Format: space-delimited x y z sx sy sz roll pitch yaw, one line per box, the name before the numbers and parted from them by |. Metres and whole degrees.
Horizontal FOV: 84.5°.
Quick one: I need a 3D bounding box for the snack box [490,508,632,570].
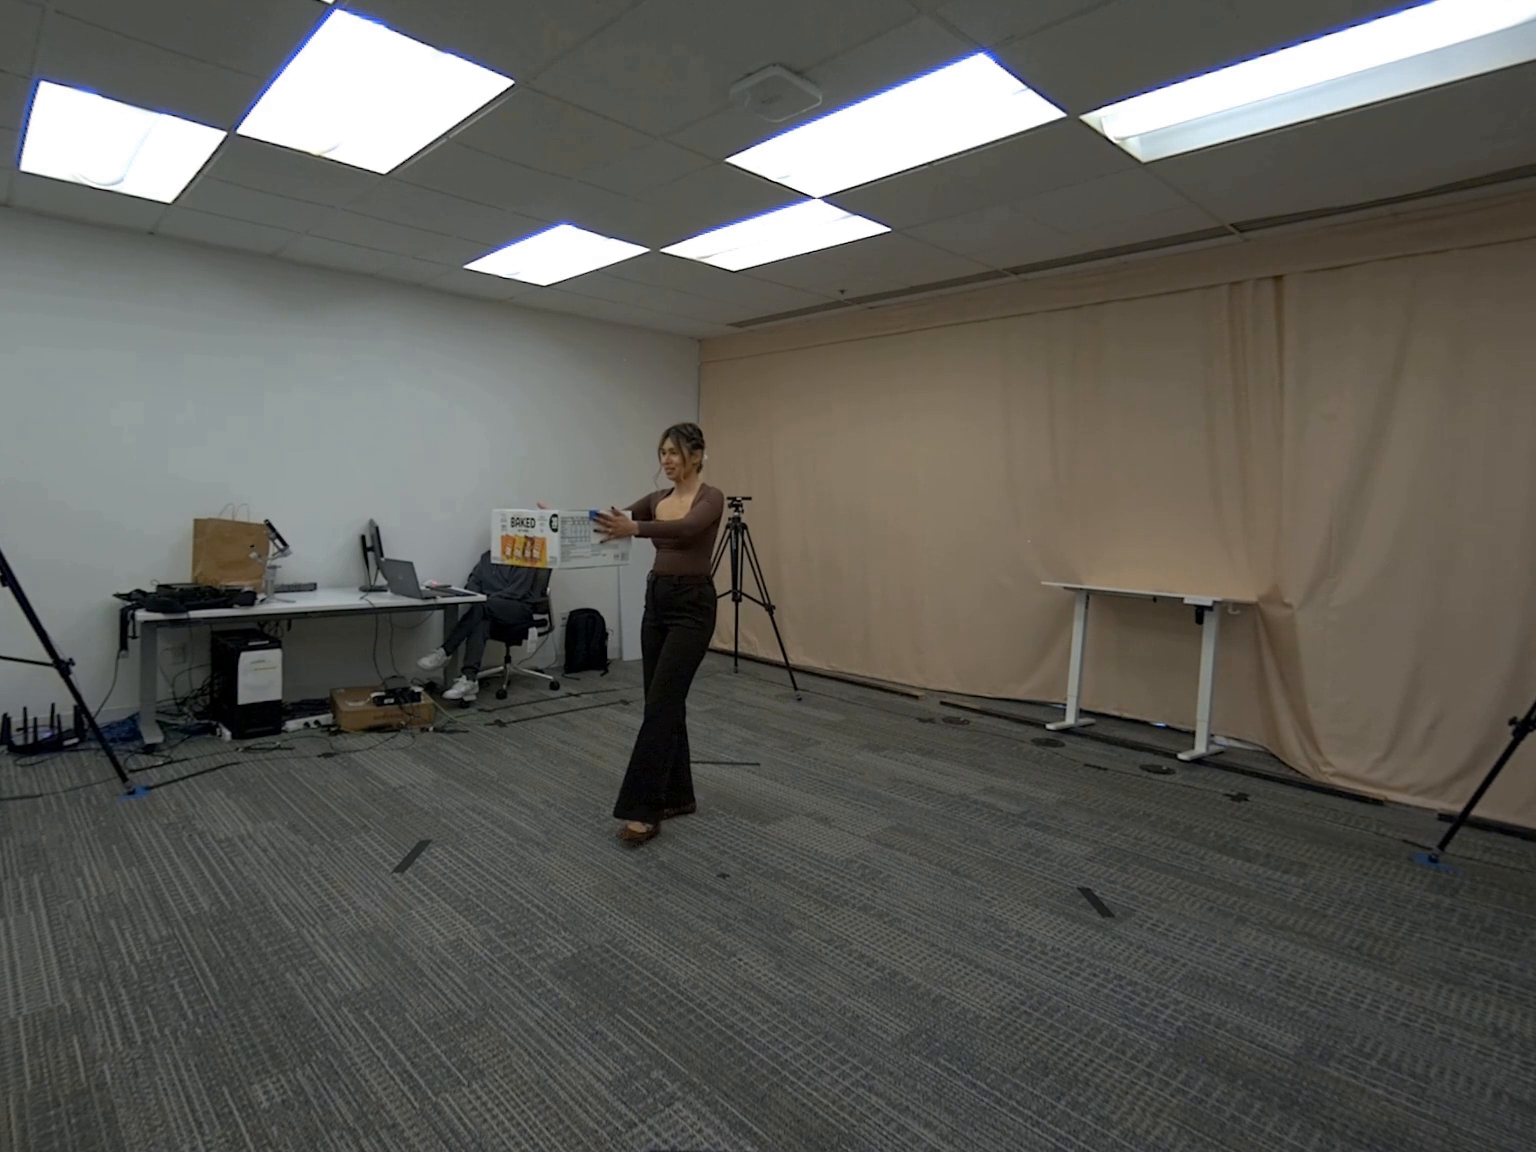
snack box | -0.795 -0.145 3.140 0.415 0.205 0.333 5 5 39
